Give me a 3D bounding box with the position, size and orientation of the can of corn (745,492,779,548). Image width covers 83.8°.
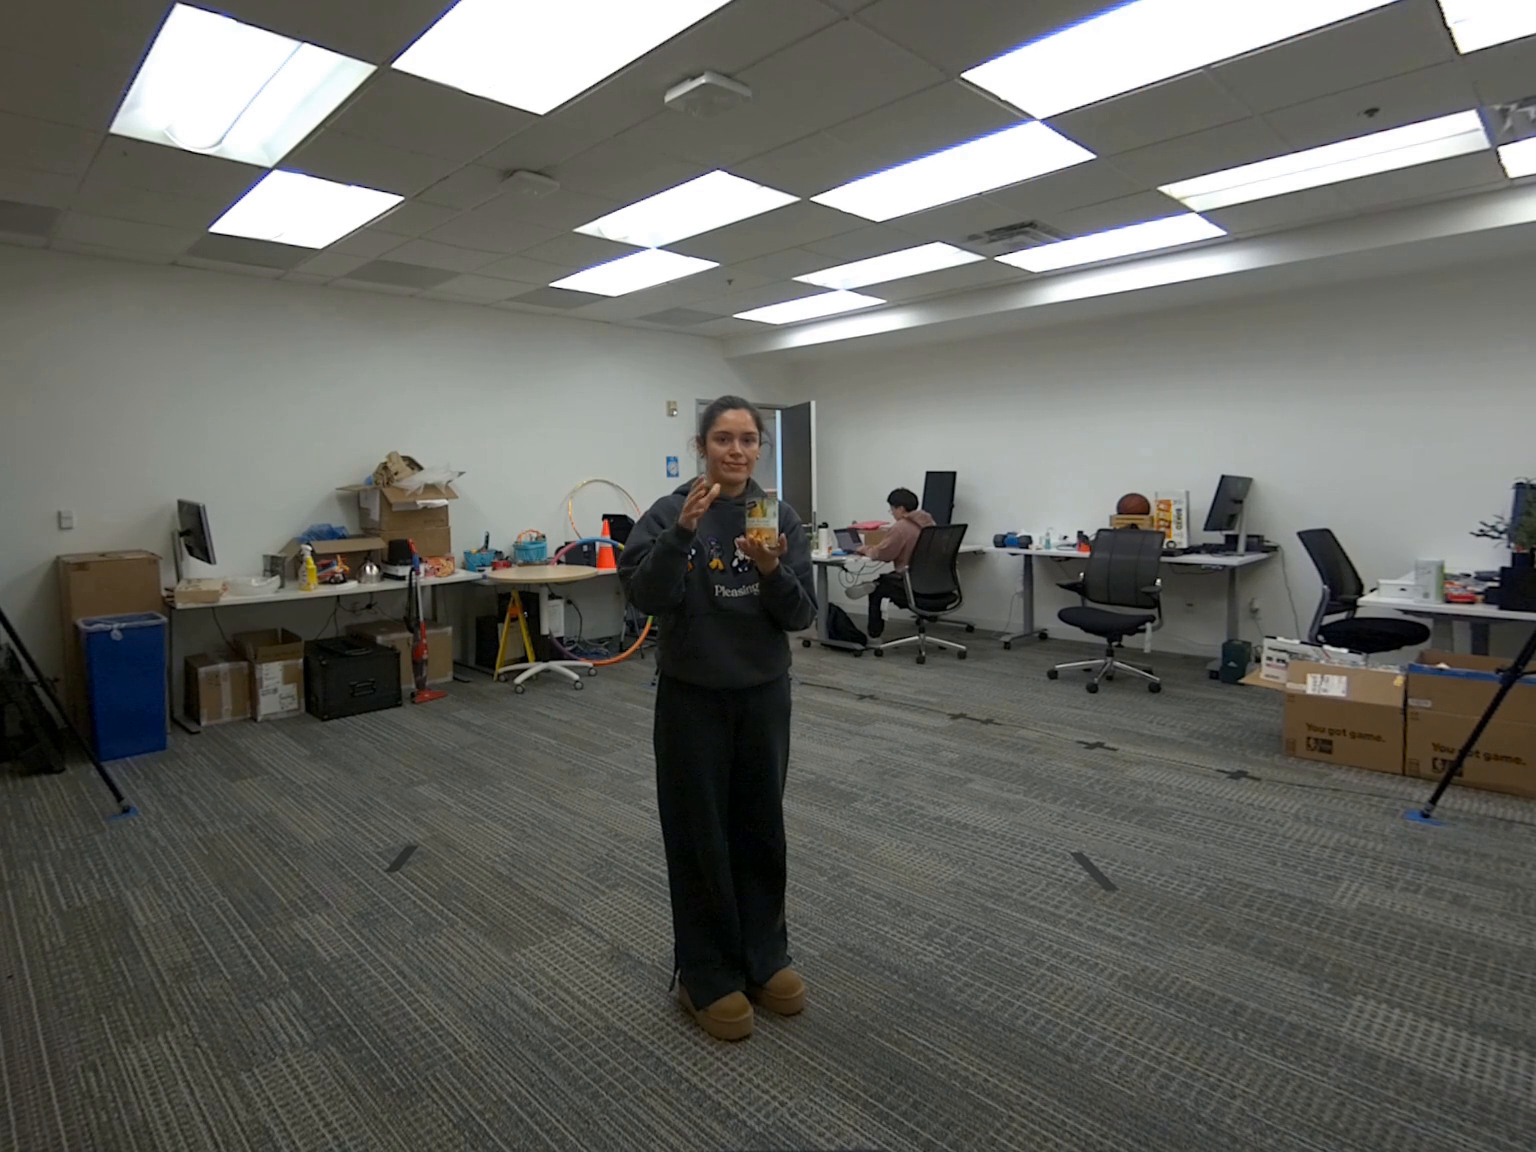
[{"bbox_3d":[-0.028,-0.122,1.935,0.074,0.111,0.074,-5,1,-2],"label":"can of corn"}]
